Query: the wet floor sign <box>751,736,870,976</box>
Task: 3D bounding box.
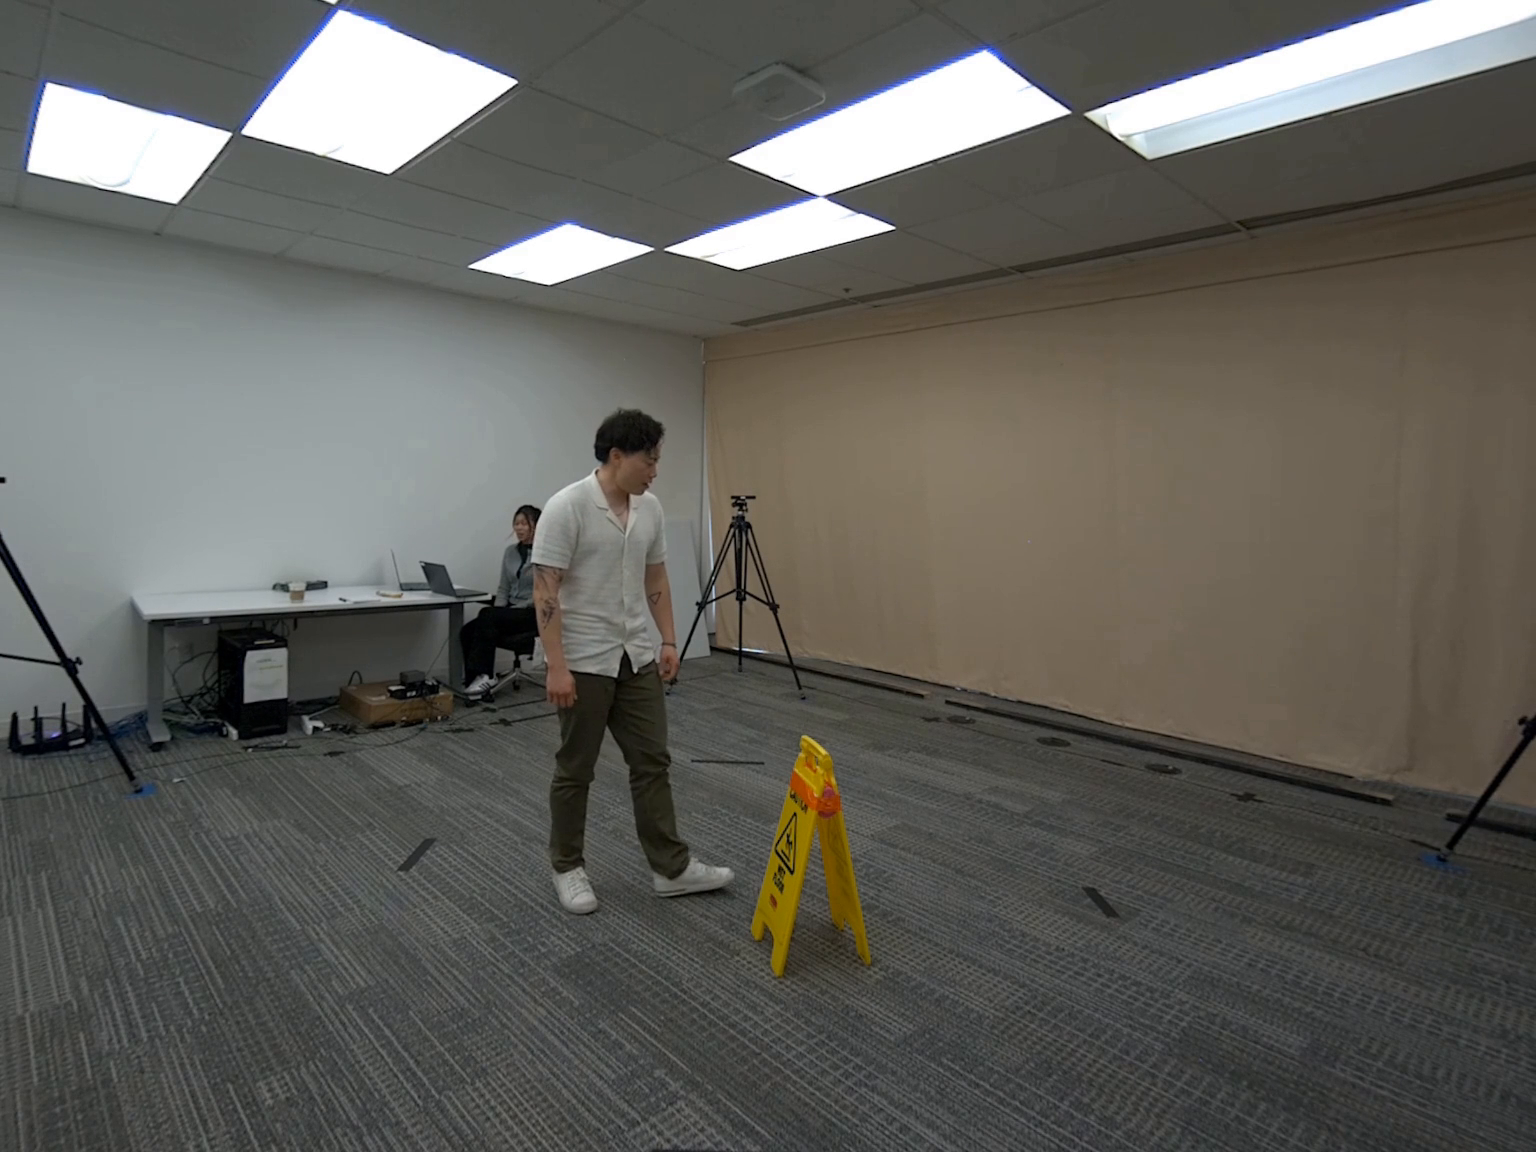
[{"bbox_3d":[0.135,0.832,2.591,0.286,0.644,0.287,1,4,-17],"label":"wet floor sign"}]
